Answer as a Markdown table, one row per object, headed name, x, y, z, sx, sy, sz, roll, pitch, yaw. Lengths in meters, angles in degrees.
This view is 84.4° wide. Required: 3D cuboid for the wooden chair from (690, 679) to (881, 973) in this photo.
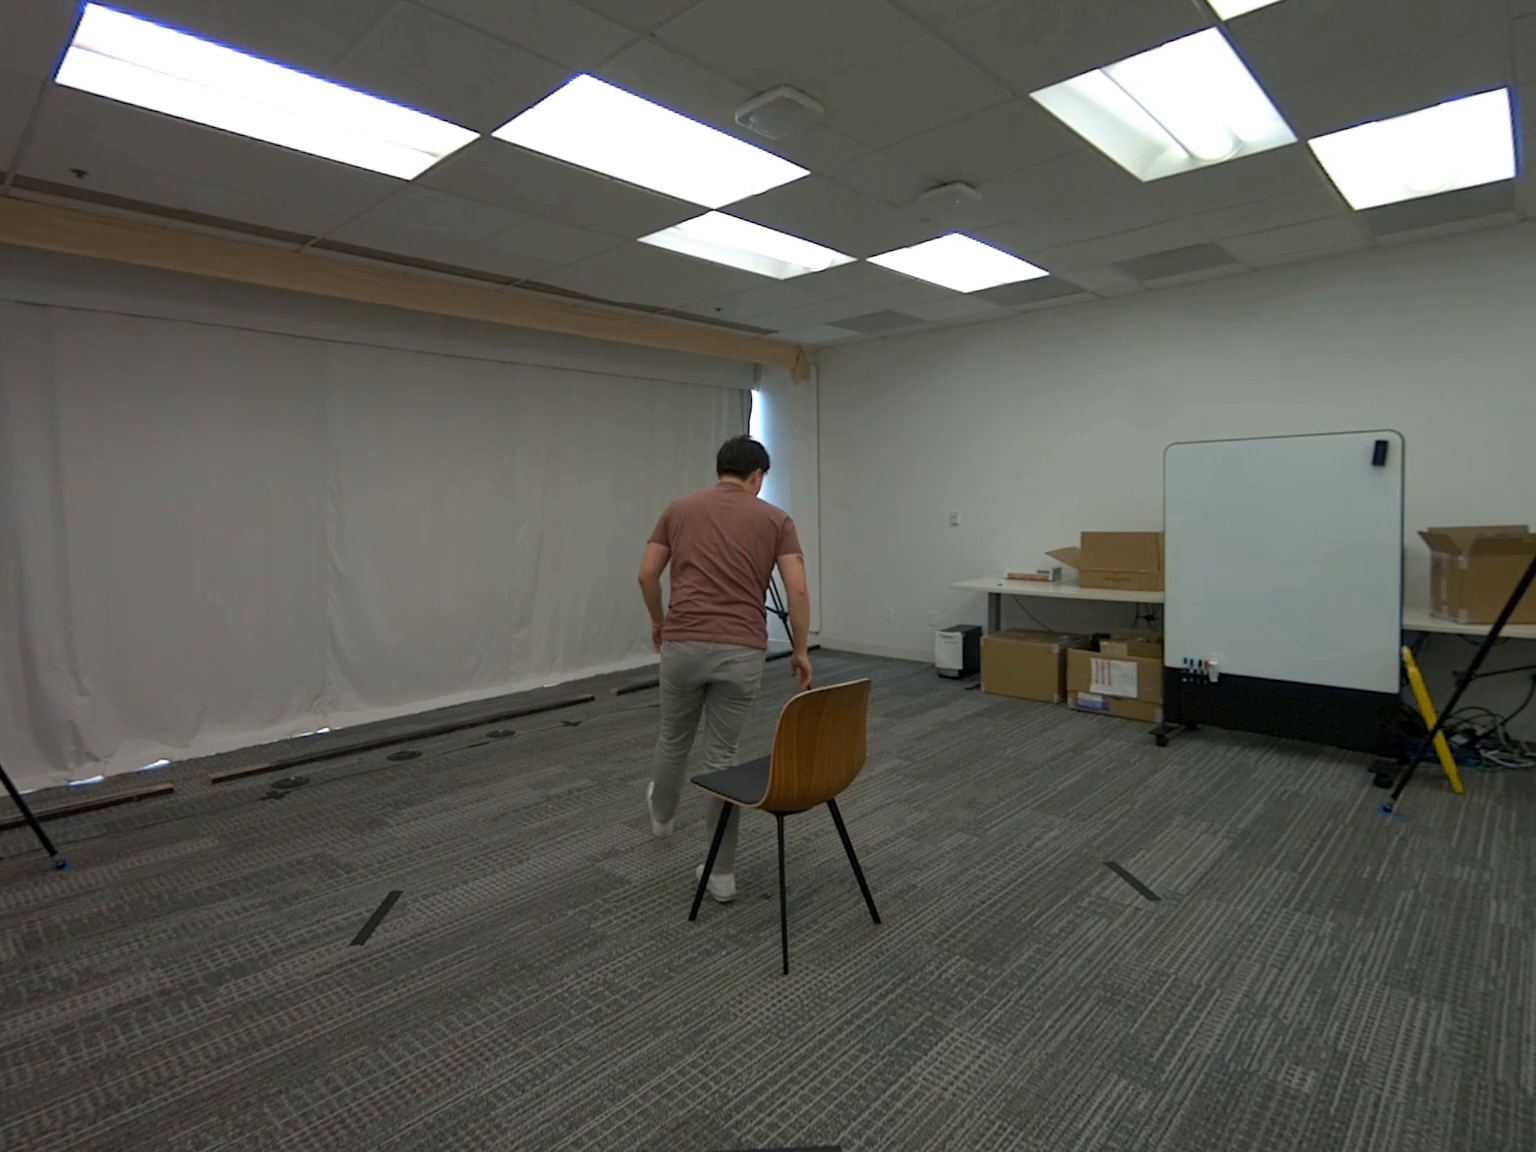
| name | x | y | z | sx | sy | sz | roll | pitch | yaw |
| --- | --- | --- | --- | --- | --- | --- | --- | --- | --- |
| wooden chair | 0.045 | 0.724 | 2.775 | 0.464 | 0.873 | 0.541 | -5 | 9 | -43 |
